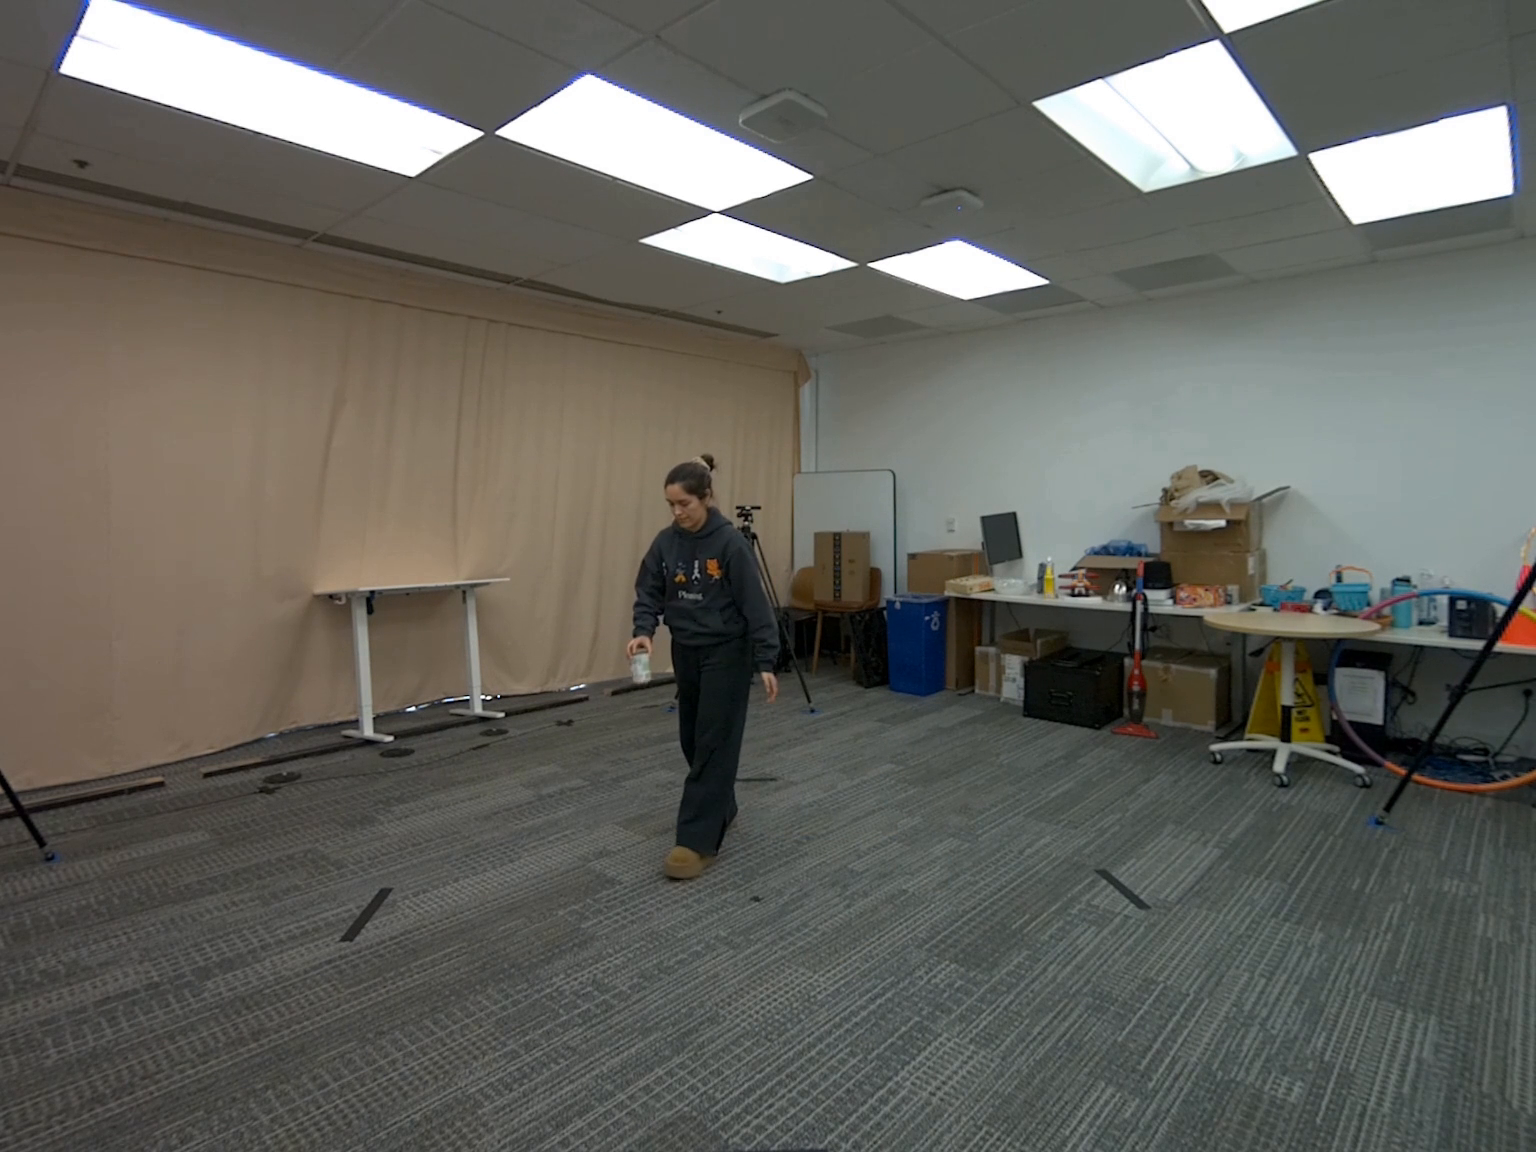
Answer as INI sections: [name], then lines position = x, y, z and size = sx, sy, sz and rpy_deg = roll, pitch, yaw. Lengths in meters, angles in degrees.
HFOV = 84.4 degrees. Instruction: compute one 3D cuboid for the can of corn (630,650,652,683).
[can of corn]
position = -0.479, 0.310, 3.223
size = 0.074, 0.111, 0.074
rpy_deg = -6, -1, -2
